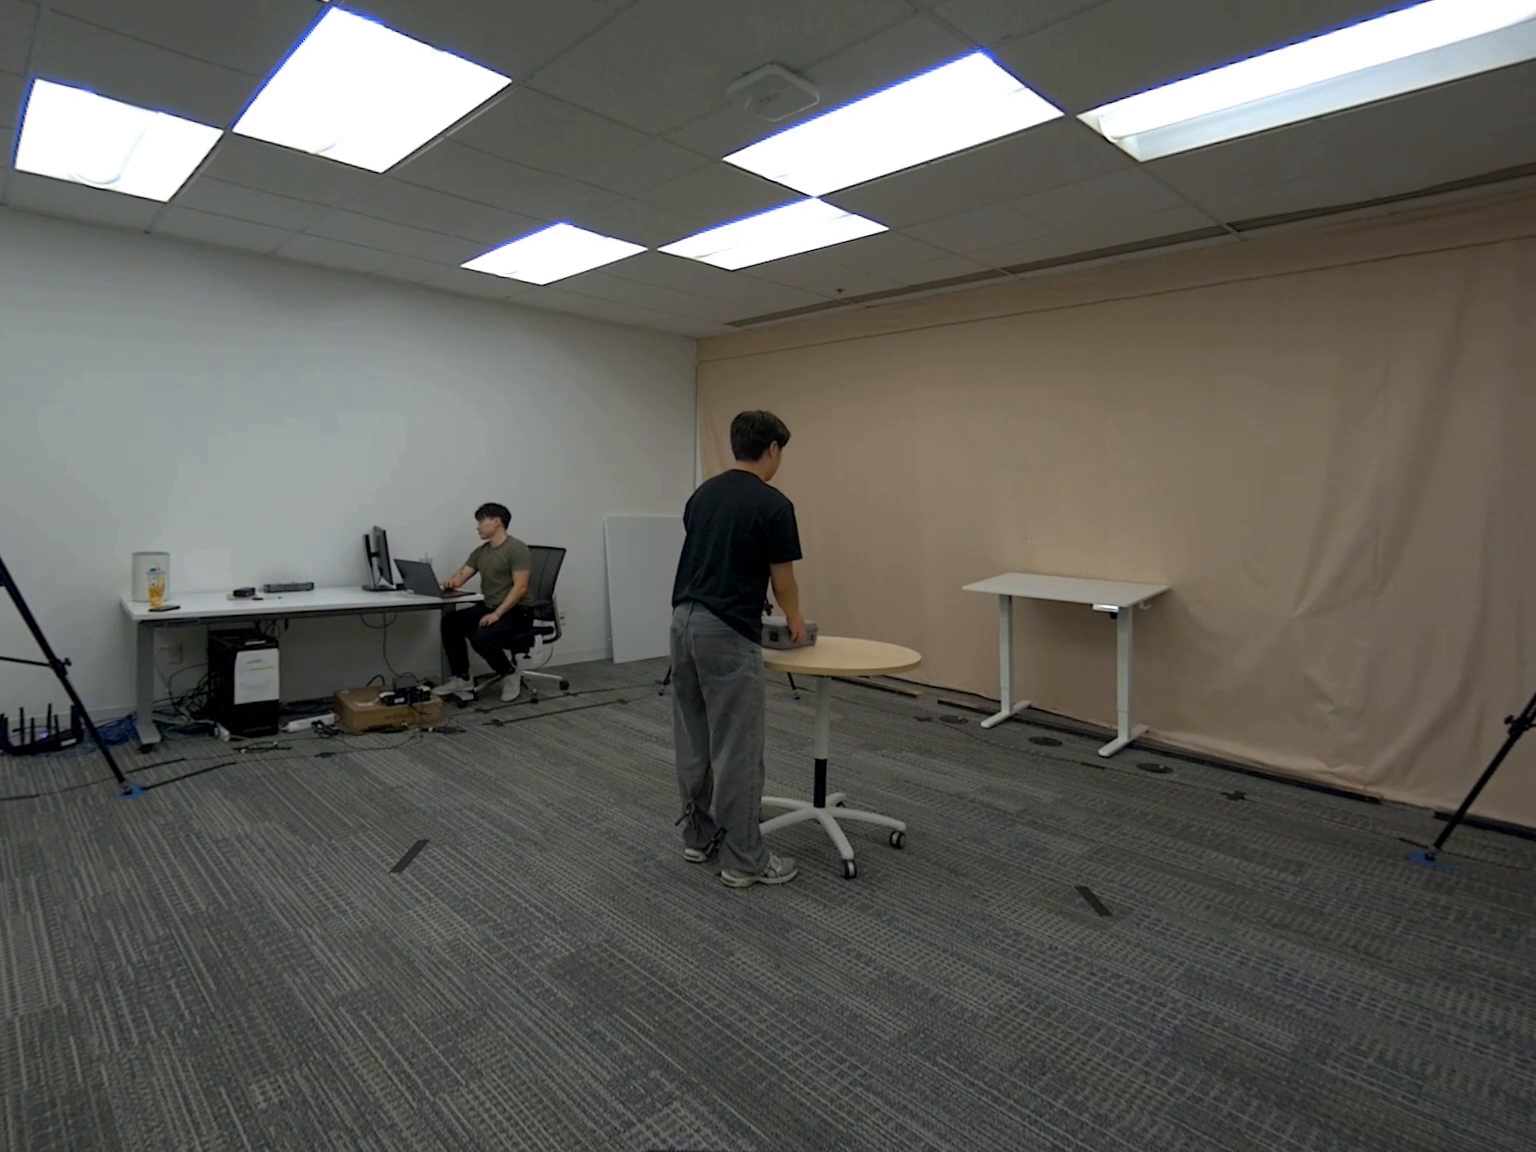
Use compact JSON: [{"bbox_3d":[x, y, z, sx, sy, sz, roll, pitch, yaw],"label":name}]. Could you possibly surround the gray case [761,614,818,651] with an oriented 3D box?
[{"bbox_3d":[0.050,0.238,3.554,0.270,0.103,0.280,6,5,42],"label":"gray case"}]
